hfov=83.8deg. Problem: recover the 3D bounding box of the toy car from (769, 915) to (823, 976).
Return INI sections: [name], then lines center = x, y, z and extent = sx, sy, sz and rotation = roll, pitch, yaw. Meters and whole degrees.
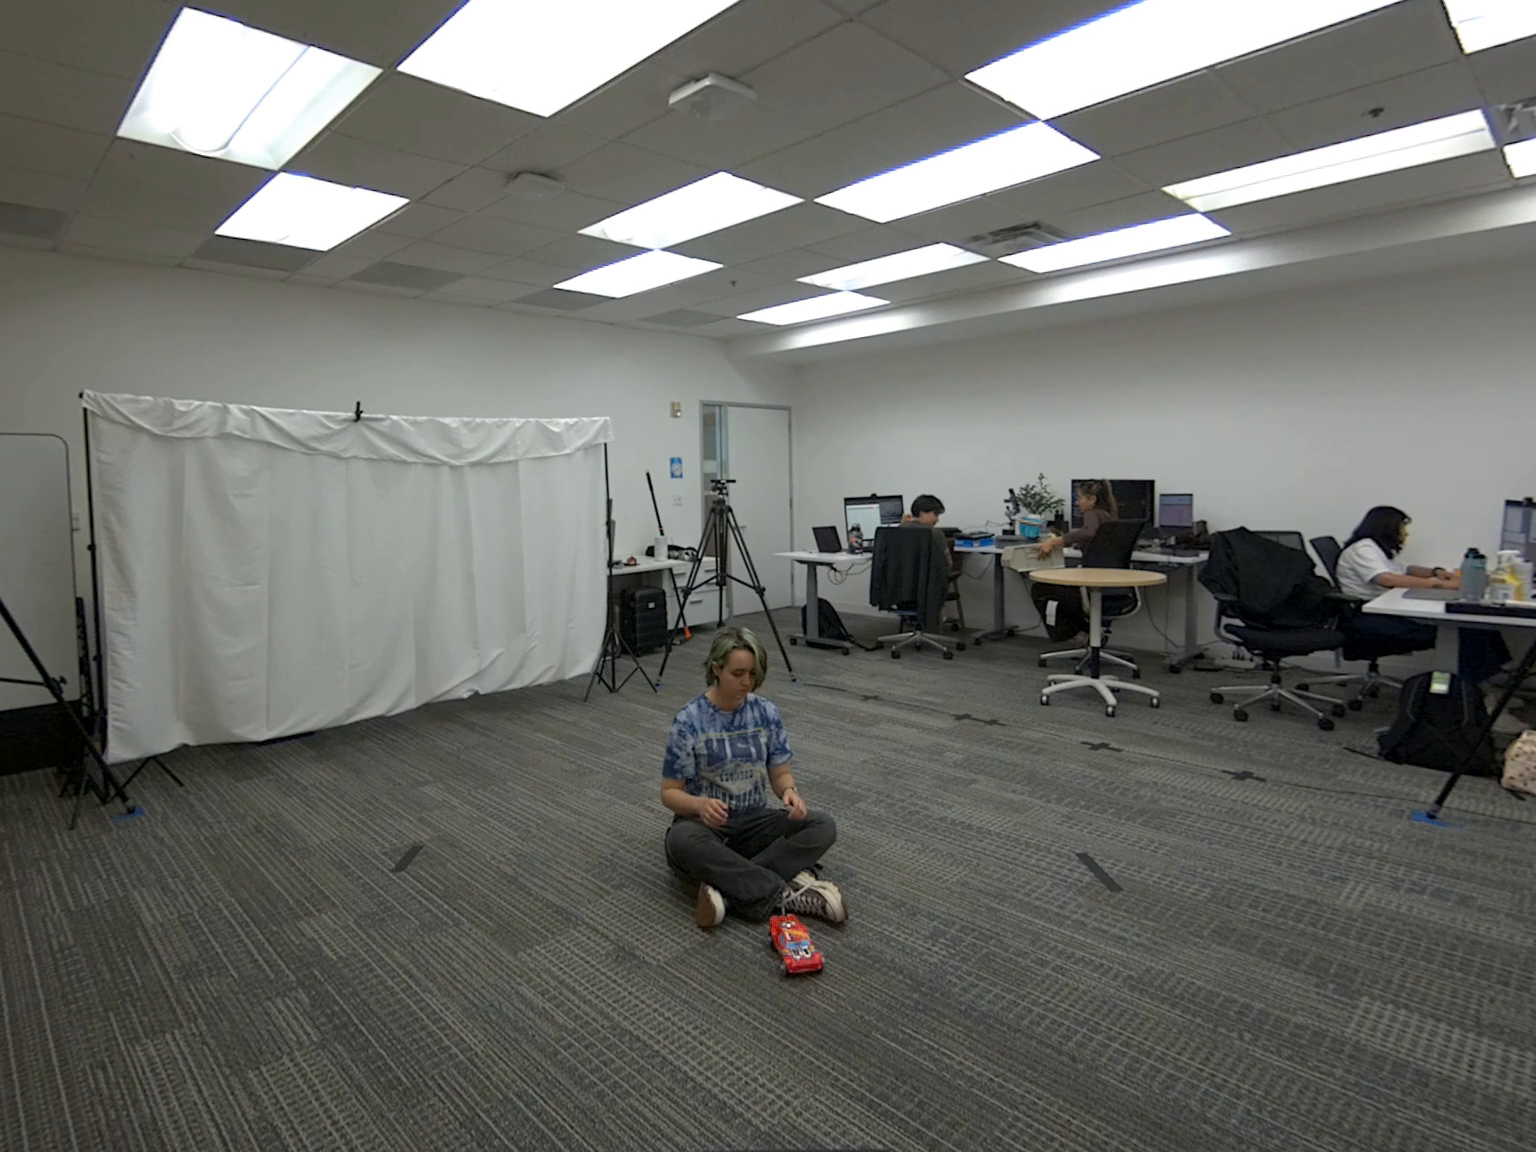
[toy car]
center = 0.073, 1.084, 2.506
extent = 0.129, 0.082, 0.261
rotation = -4, 18, -13
